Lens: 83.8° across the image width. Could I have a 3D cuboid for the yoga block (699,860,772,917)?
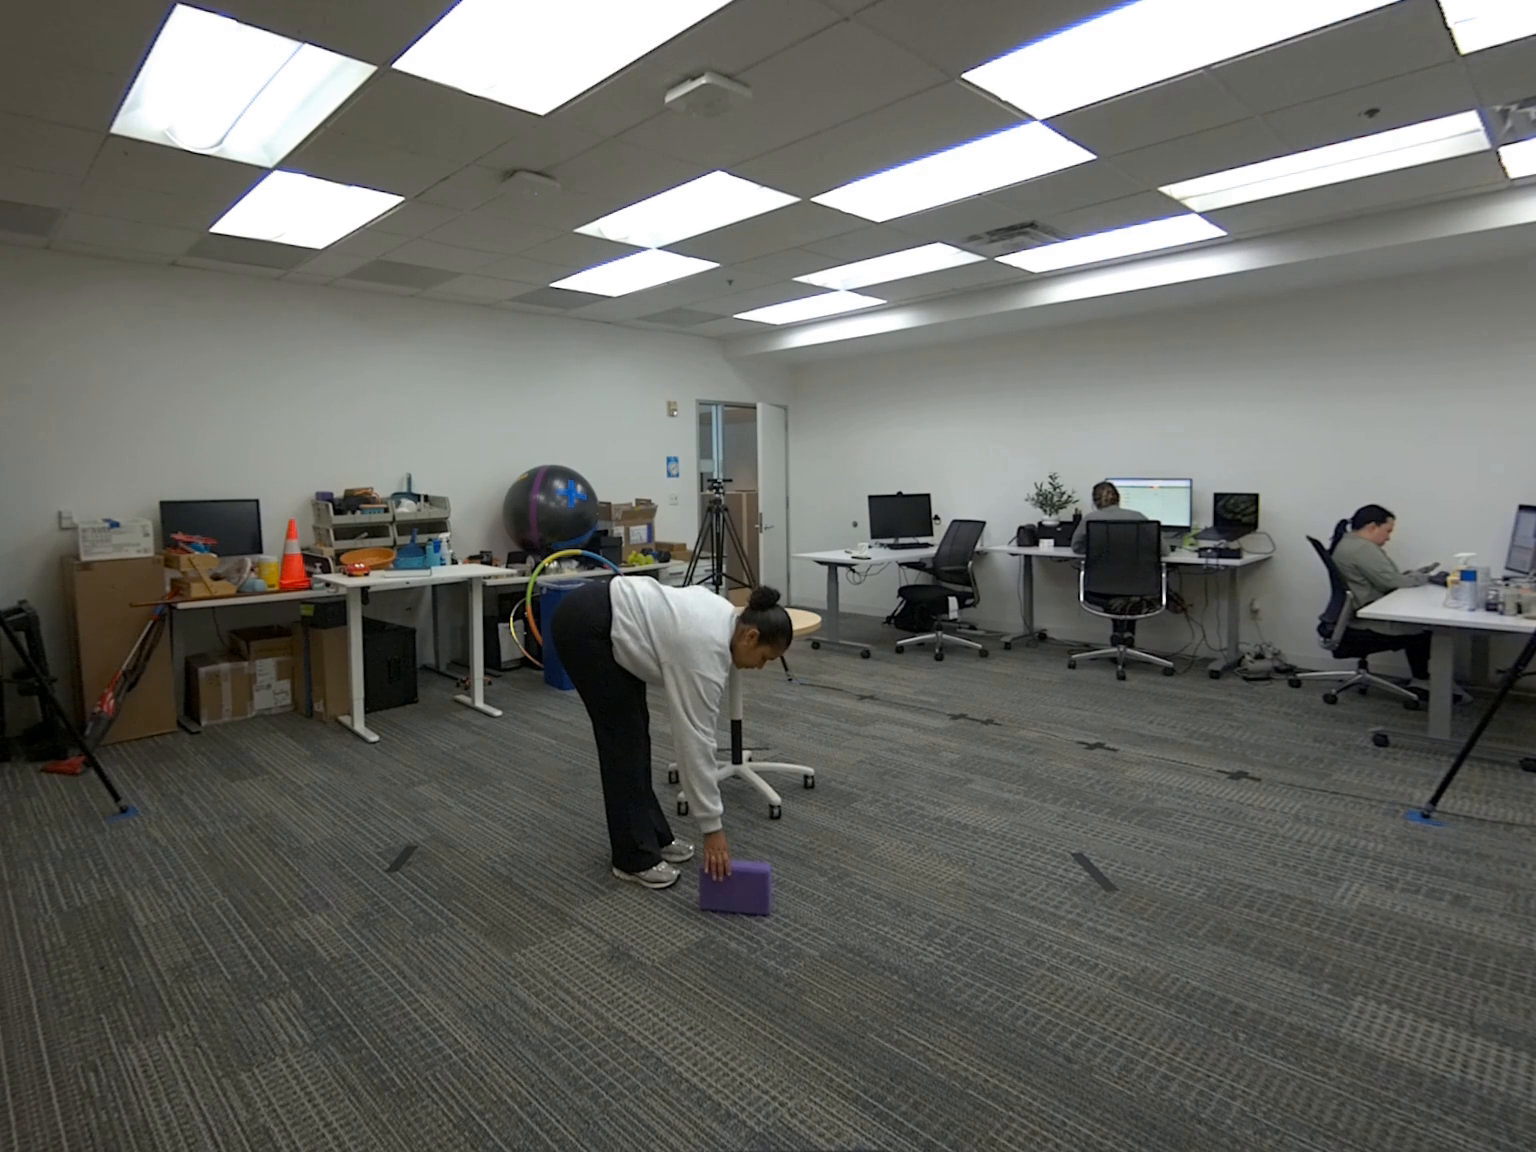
[{"bbox_3d":[-0.099,1.010,2.771,0.232,0.148,0.076,2,7,12],"label":"yoga block"}]
